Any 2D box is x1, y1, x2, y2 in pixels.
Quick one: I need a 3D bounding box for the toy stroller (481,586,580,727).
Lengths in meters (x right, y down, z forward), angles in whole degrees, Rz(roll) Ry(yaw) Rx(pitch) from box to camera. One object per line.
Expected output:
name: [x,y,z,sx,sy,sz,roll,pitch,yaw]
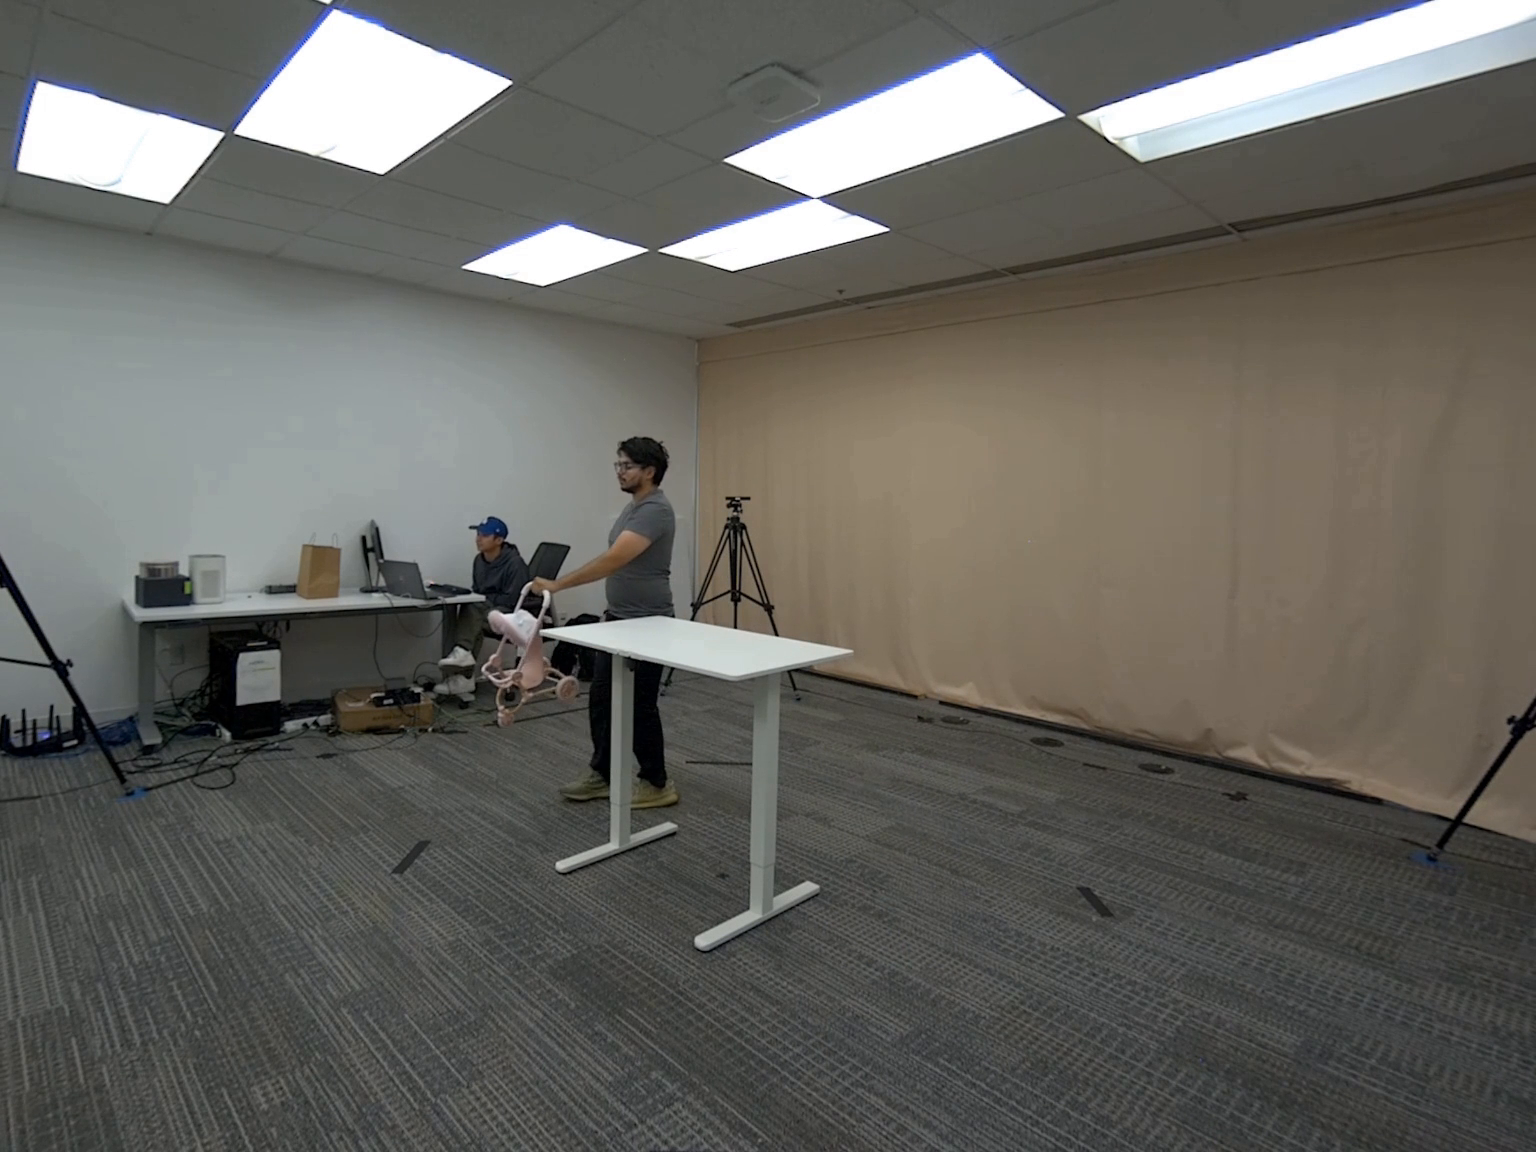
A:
toy stroller: [-1.024,0.343,3.466,0.337,0.525,0.290,-24,30,-31]
